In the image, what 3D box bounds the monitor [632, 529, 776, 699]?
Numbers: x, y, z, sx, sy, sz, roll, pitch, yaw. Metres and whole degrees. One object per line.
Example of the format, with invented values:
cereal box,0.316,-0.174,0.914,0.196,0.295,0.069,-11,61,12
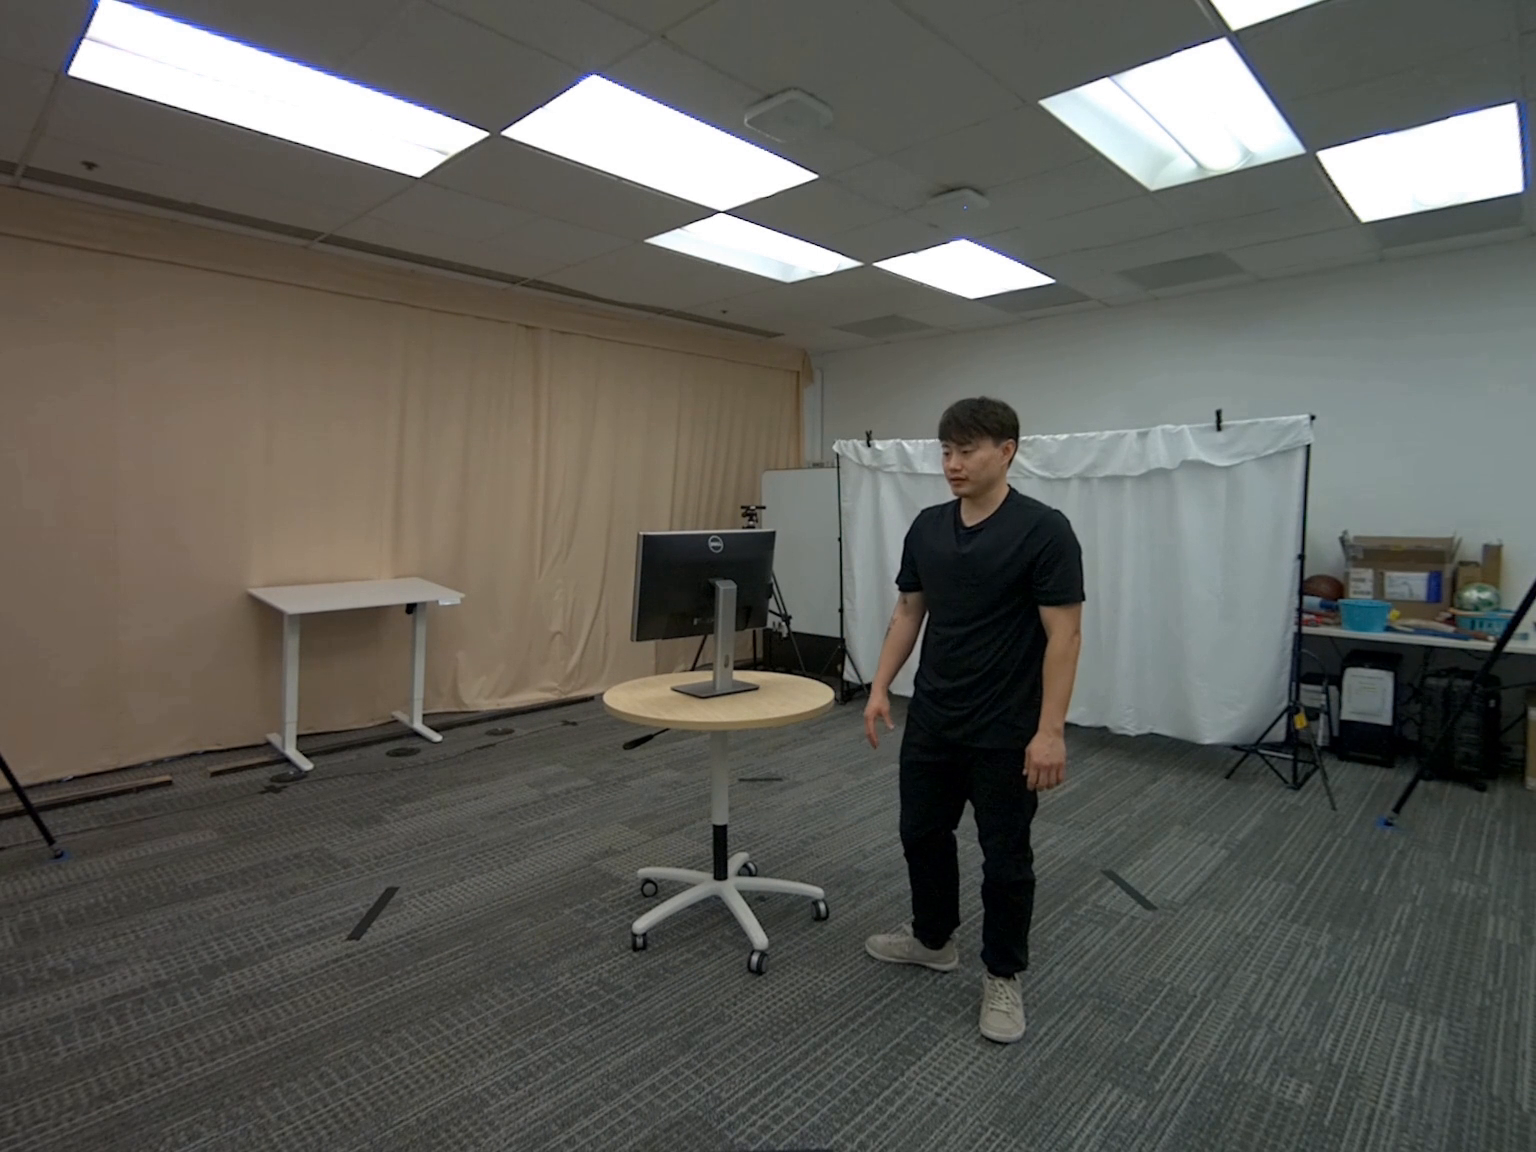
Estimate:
monitor,-0.182,0.123,2.838,0.523,0.522,0.193,-3,2,-39
